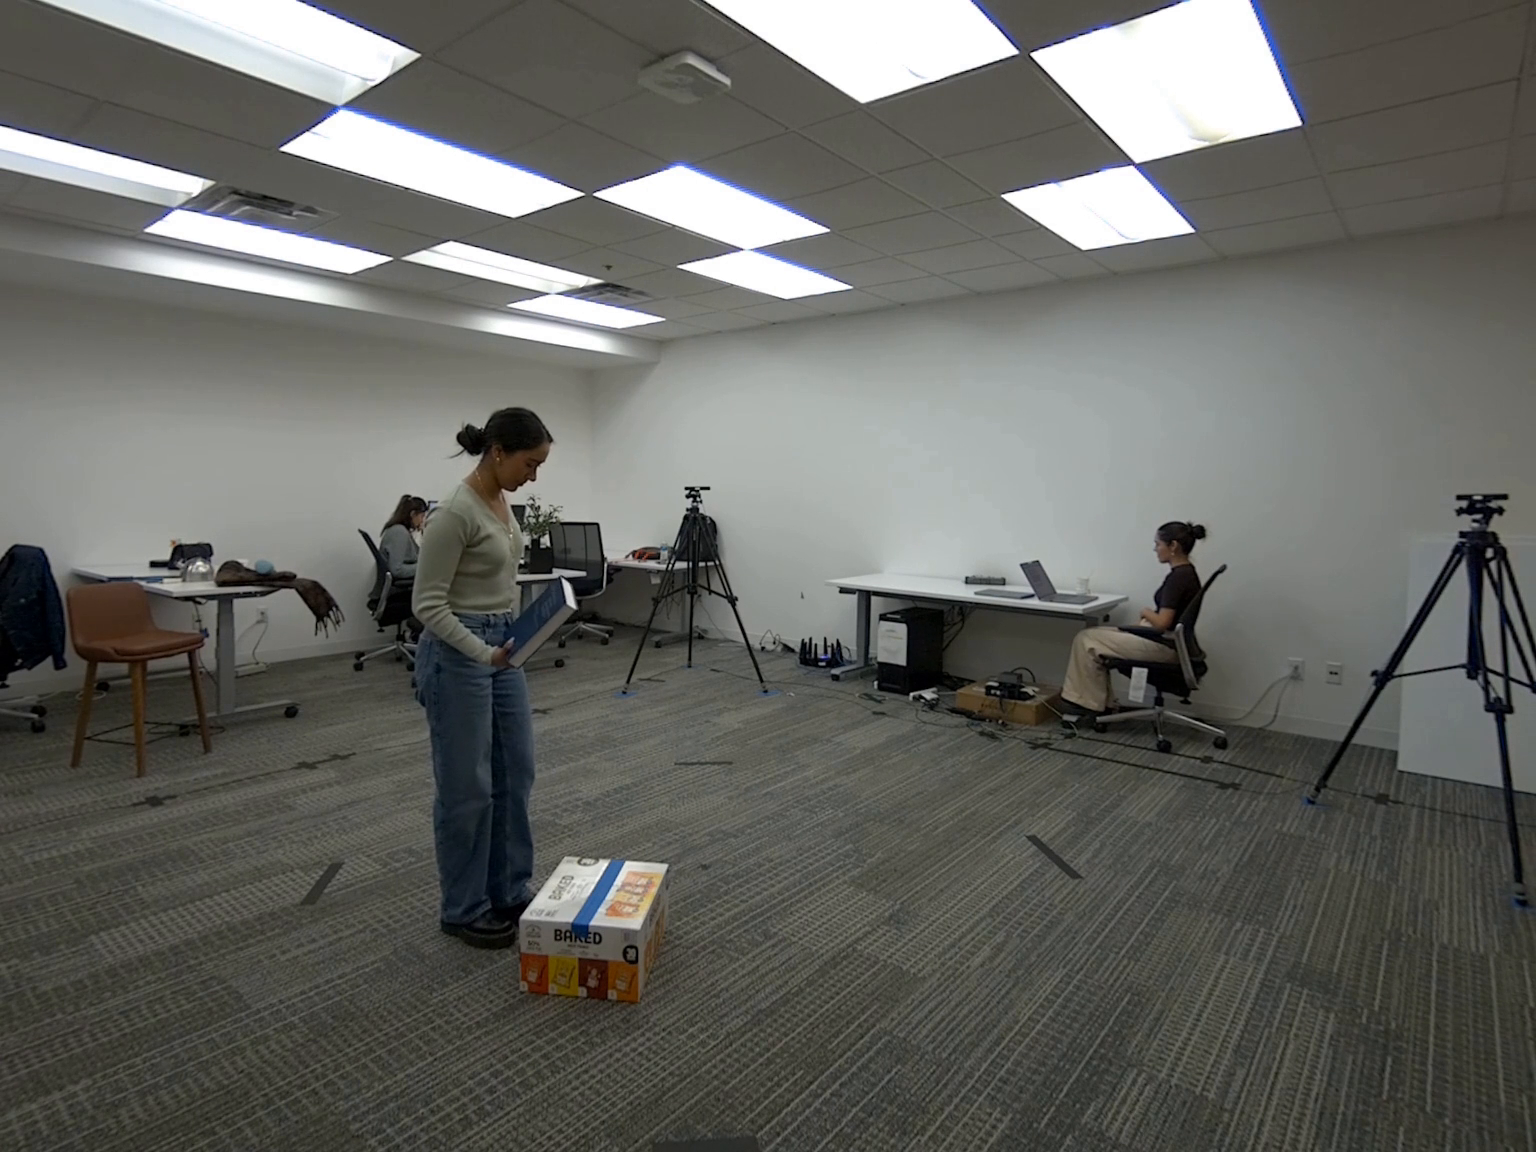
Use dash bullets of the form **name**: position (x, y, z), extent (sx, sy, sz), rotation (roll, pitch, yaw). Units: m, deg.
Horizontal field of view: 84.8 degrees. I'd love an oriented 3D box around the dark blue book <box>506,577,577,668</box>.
- **dark blue book**: position (-0.655, 0.130, 2.376), extent (0.043, 0.245, 0.169), rotation (45, 6, -32)
